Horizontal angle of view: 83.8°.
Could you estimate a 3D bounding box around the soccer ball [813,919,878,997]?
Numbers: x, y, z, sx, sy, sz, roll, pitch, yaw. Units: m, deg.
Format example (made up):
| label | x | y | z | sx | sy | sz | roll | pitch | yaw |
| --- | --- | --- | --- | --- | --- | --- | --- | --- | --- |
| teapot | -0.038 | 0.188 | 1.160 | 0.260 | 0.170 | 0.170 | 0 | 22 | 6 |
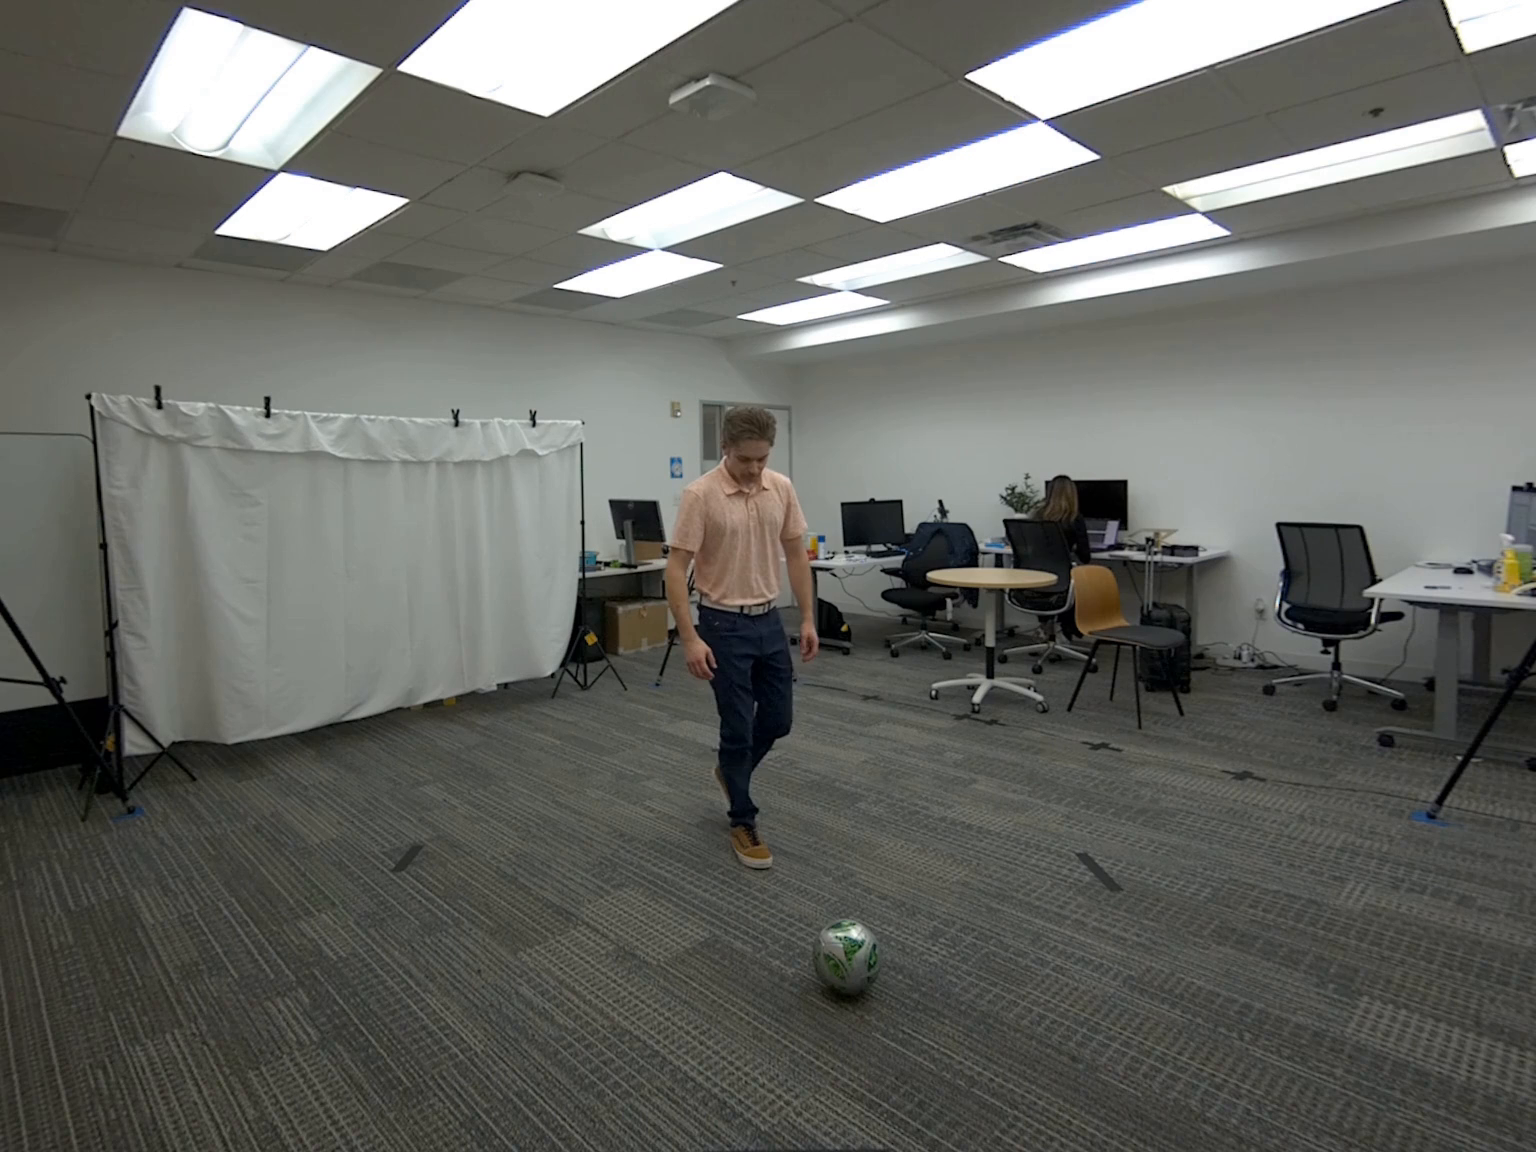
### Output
| label | x | y | z | sx | sy | sz | roll | pitch | yaw |
| --- | --- | --- | --- | --- | --- | --- | --- | --- | --- |
| soccer ball | 0.220 | 1.041 | 2.329 | 0.187 | 0.187 | 0.188 | -1 | 5 | -2 |
